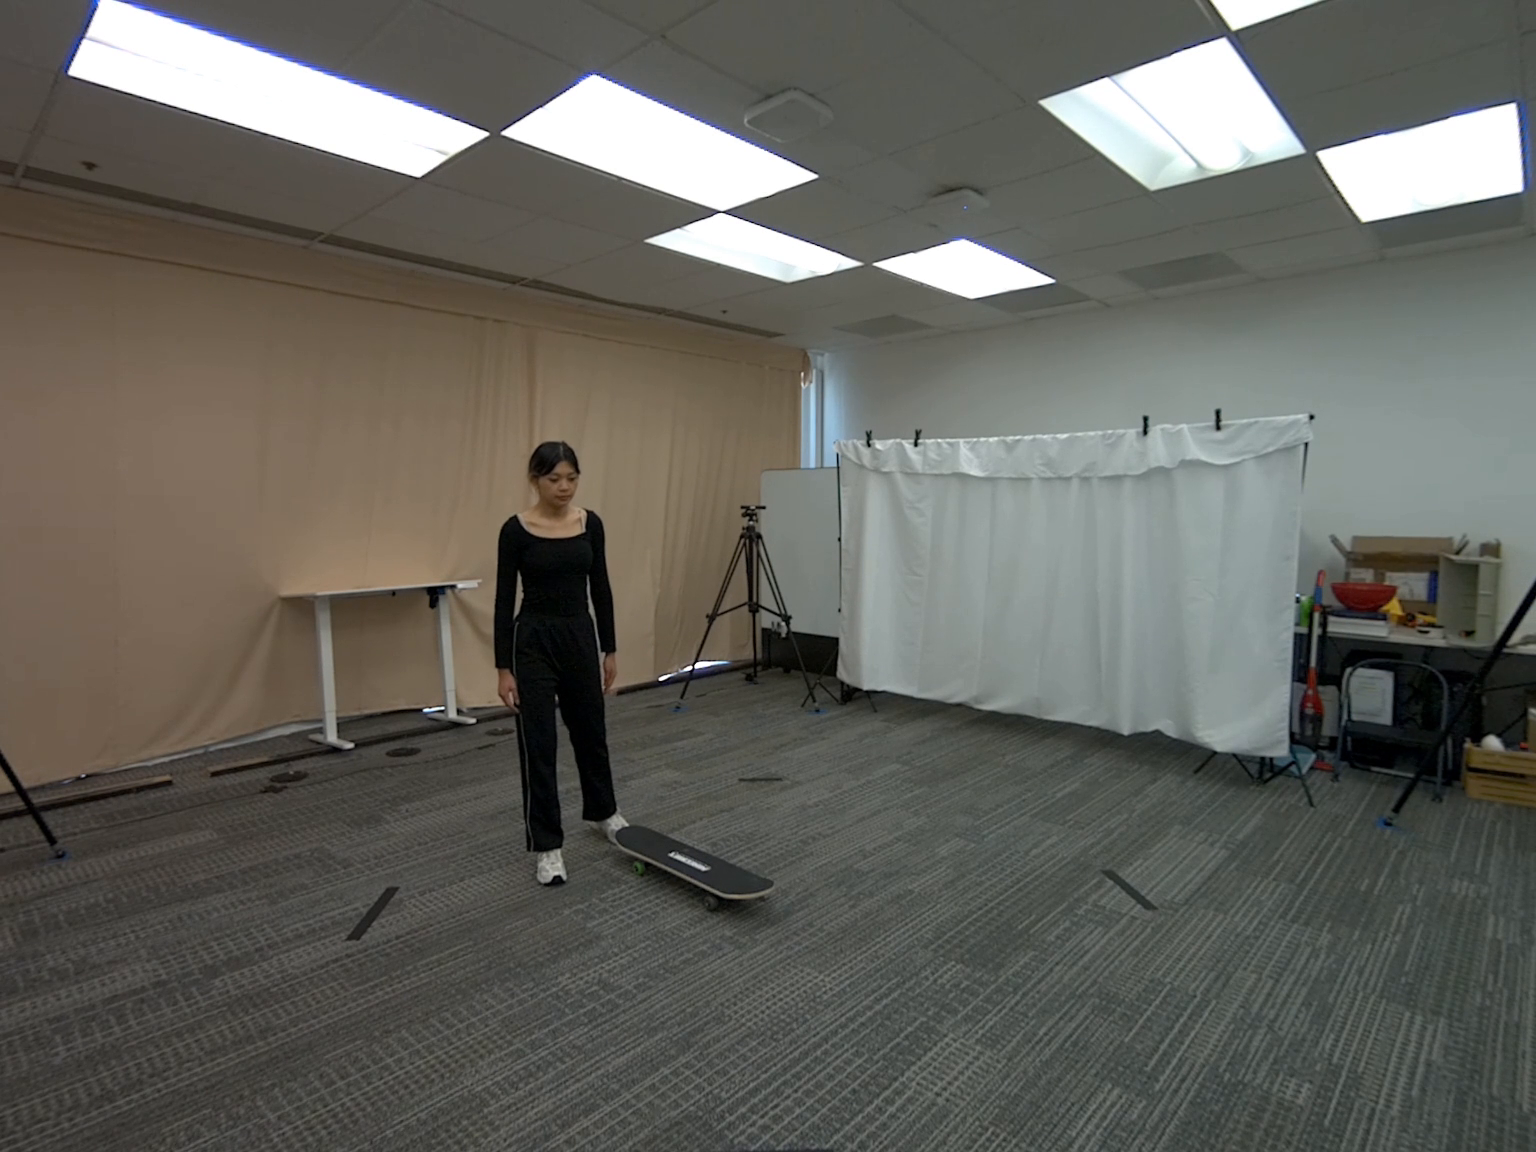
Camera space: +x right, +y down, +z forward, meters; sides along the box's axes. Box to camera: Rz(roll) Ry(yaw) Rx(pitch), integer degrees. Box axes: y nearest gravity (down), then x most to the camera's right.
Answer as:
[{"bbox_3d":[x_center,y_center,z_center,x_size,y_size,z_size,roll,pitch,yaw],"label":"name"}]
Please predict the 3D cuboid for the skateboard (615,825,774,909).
[{"bbox_3d":[-0.290,1.083,3.097,0.812,0.110,0.187,4,6,44],"label":"skateboard"}]
